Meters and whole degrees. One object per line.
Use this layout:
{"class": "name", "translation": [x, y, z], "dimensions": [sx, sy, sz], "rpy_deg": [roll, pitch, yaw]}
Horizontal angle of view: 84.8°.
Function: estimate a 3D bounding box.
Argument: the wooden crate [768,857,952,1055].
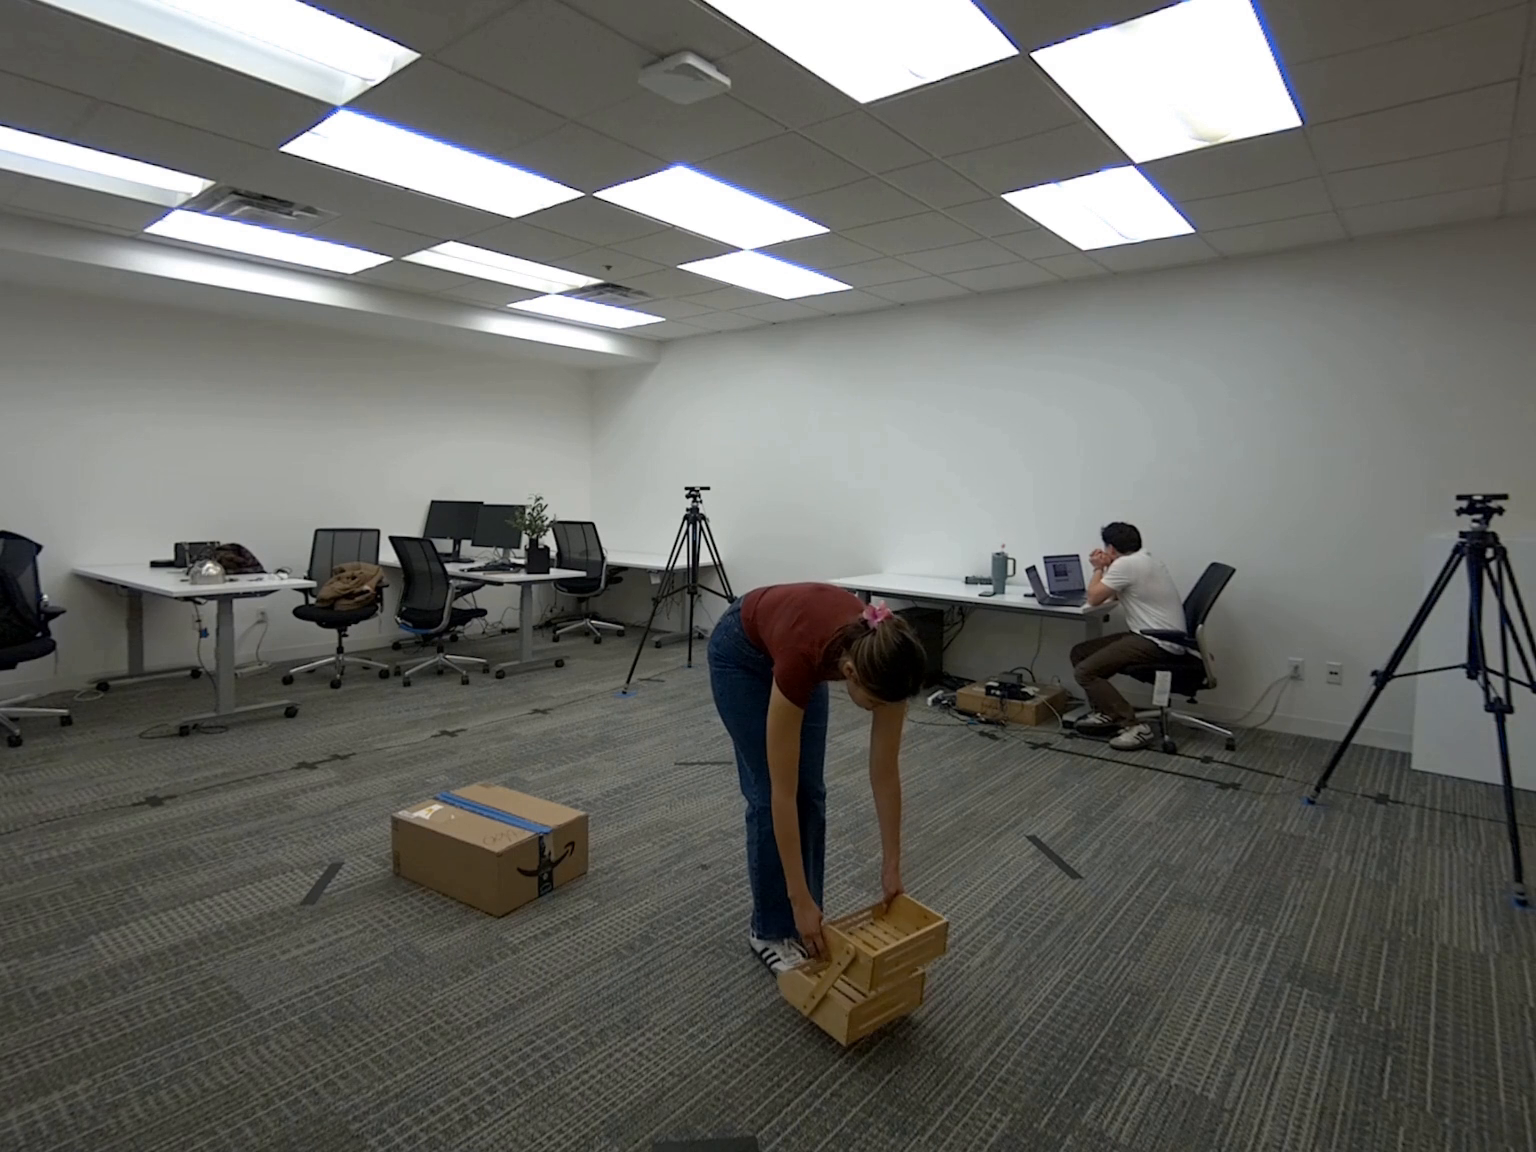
{"class": "wooden crate", "translation": [0.238, 0.972, 2.207], "dimensions": [0.314, 0.272, 0.313], "rpy_deg": [0, 10, -41]}
